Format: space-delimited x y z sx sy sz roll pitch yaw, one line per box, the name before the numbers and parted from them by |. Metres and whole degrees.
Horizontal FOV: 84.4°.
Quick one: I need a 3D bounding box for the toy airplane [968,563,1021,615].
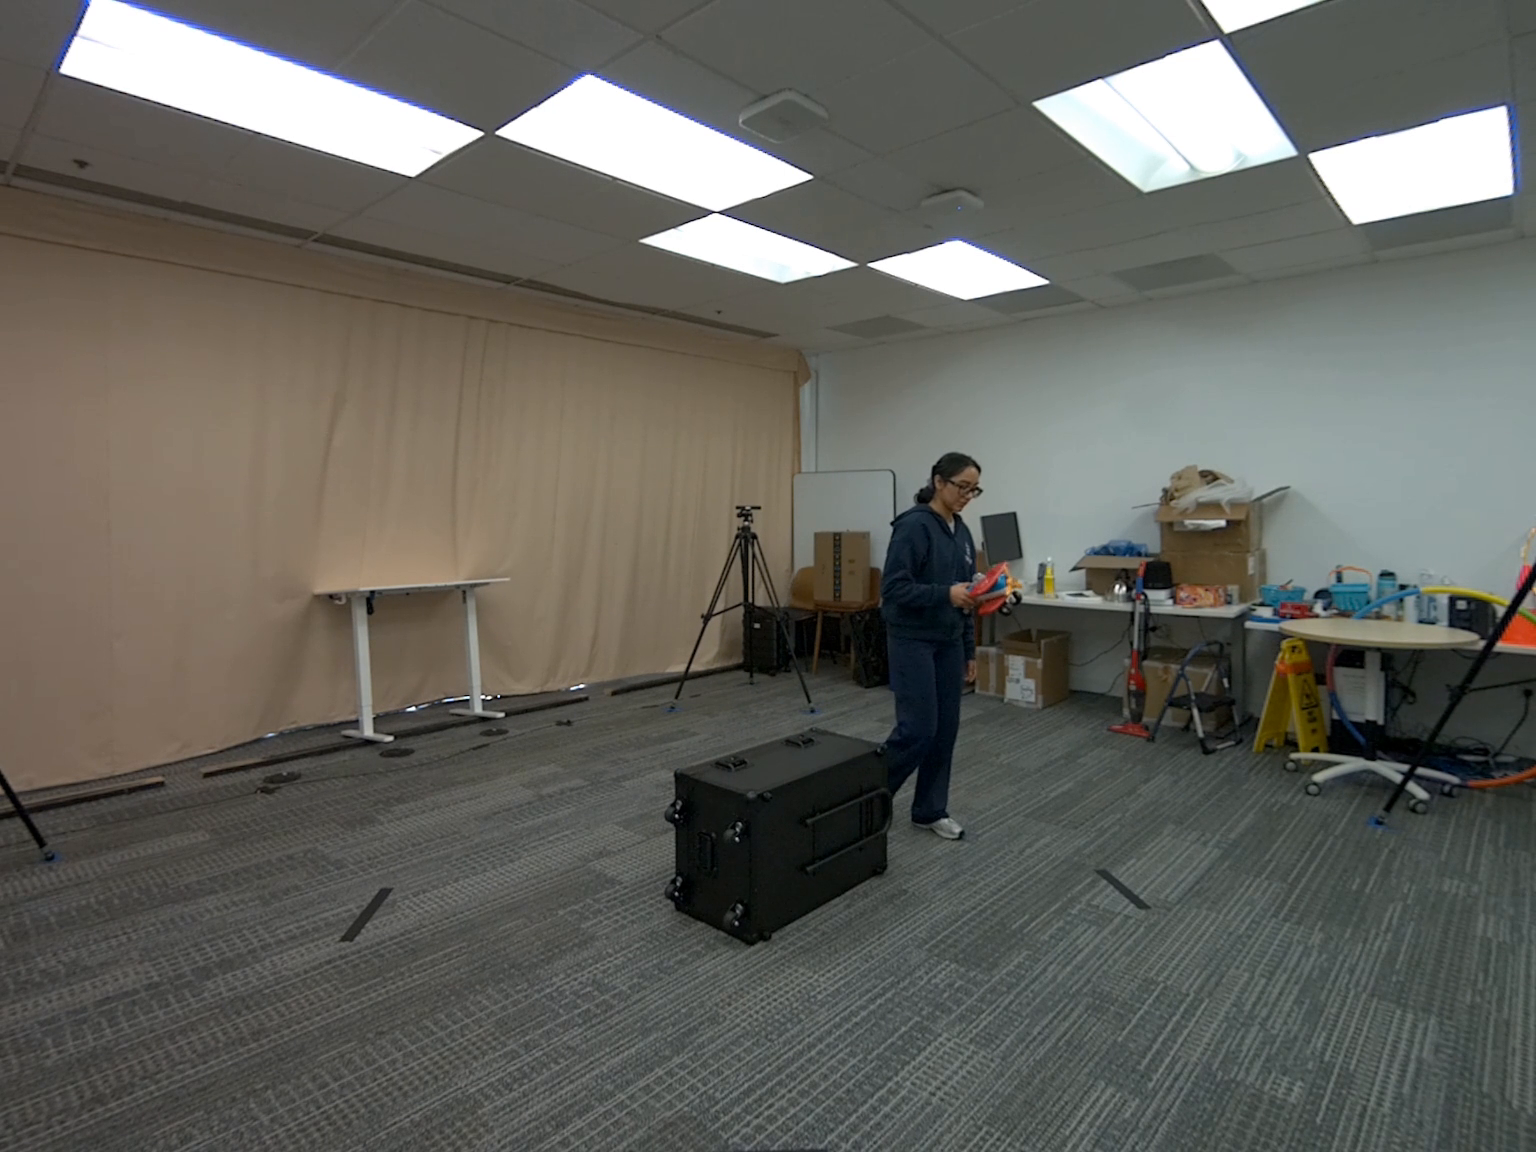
toy airplane | 0.837 0.069 3.251 0.263 0.154 0.251 -17 17 18
